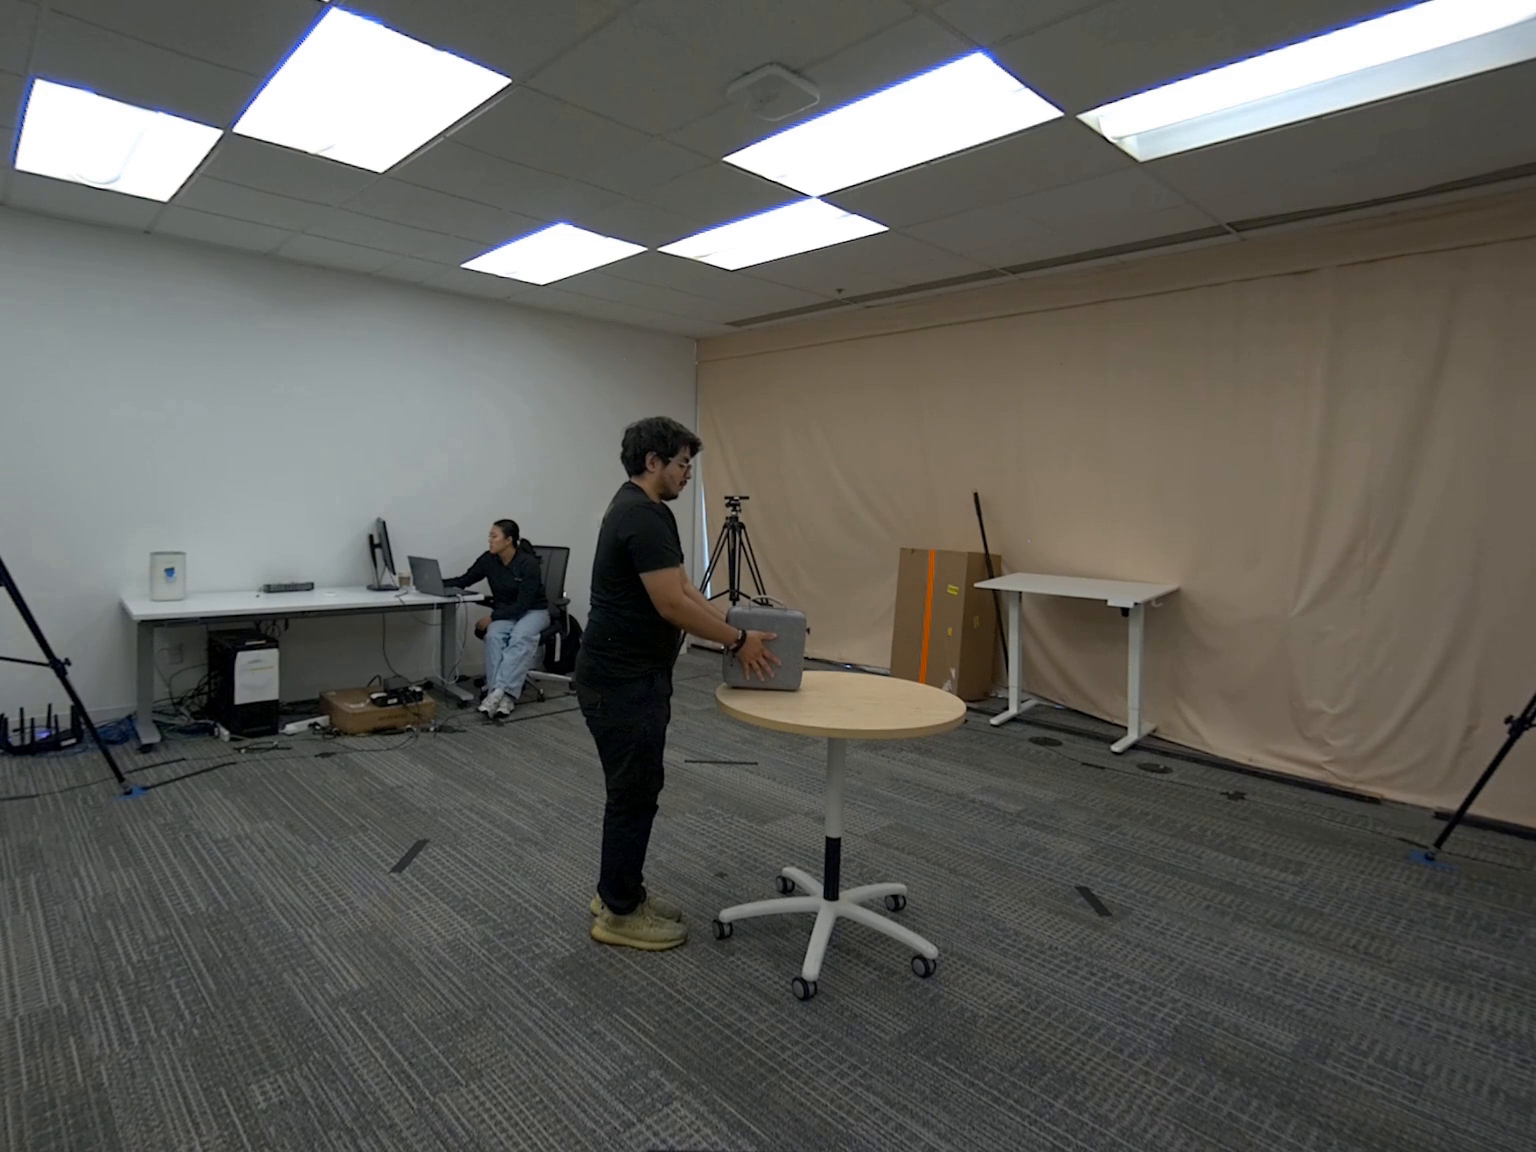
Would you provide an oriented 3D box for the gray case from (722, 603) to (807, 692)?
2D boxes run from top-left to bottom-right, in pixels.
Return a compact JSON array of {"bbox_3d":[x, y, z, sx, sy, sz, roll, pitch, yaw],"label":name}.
[{"bbox_3d":[-0.013,0.231,2.669,0.257,0.259,0.105,3,7,0],"label":"gray case"}]
